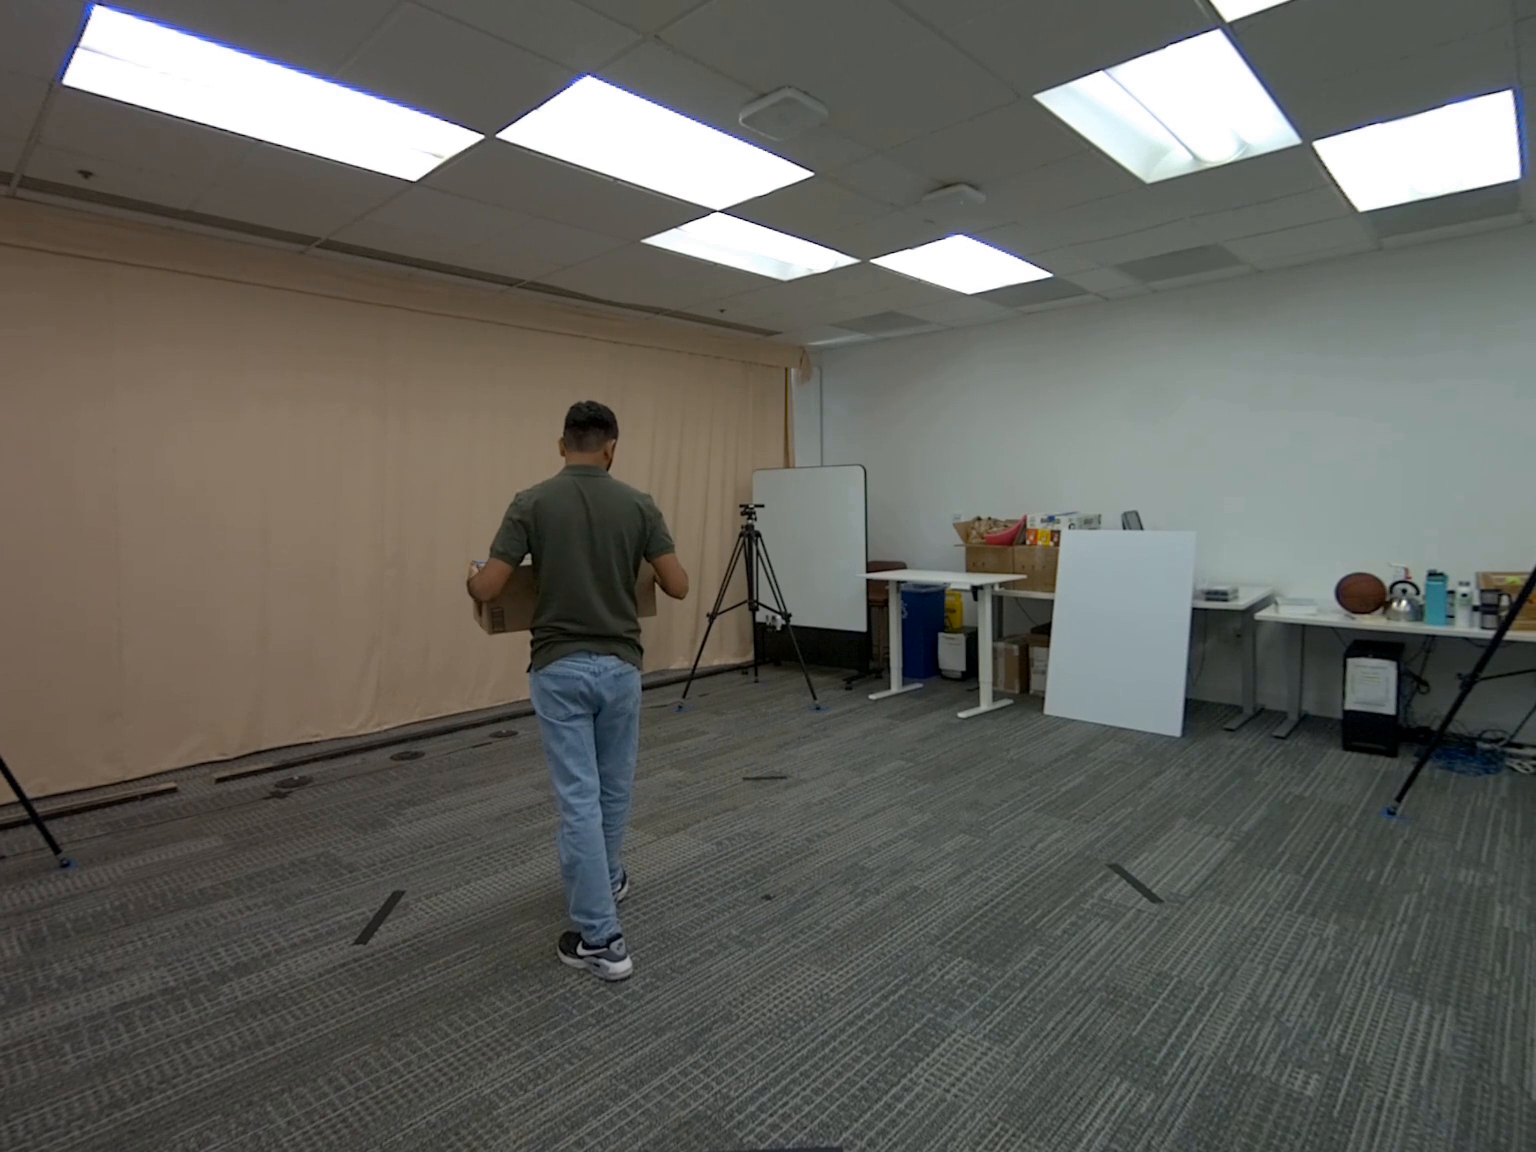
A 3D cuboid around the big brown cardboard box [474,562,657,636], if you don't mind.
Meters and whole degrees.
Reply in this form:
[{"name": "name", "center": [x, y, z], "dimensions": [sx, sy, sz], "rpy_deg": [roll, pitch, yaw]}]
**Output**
[{"name": "big brown cardboard box", "center": [-0.726, 0.038, 2.952], "dimensions": [0.577, 0.232, 0.428], "rpy_deg": [-6, 6, -22]}]
